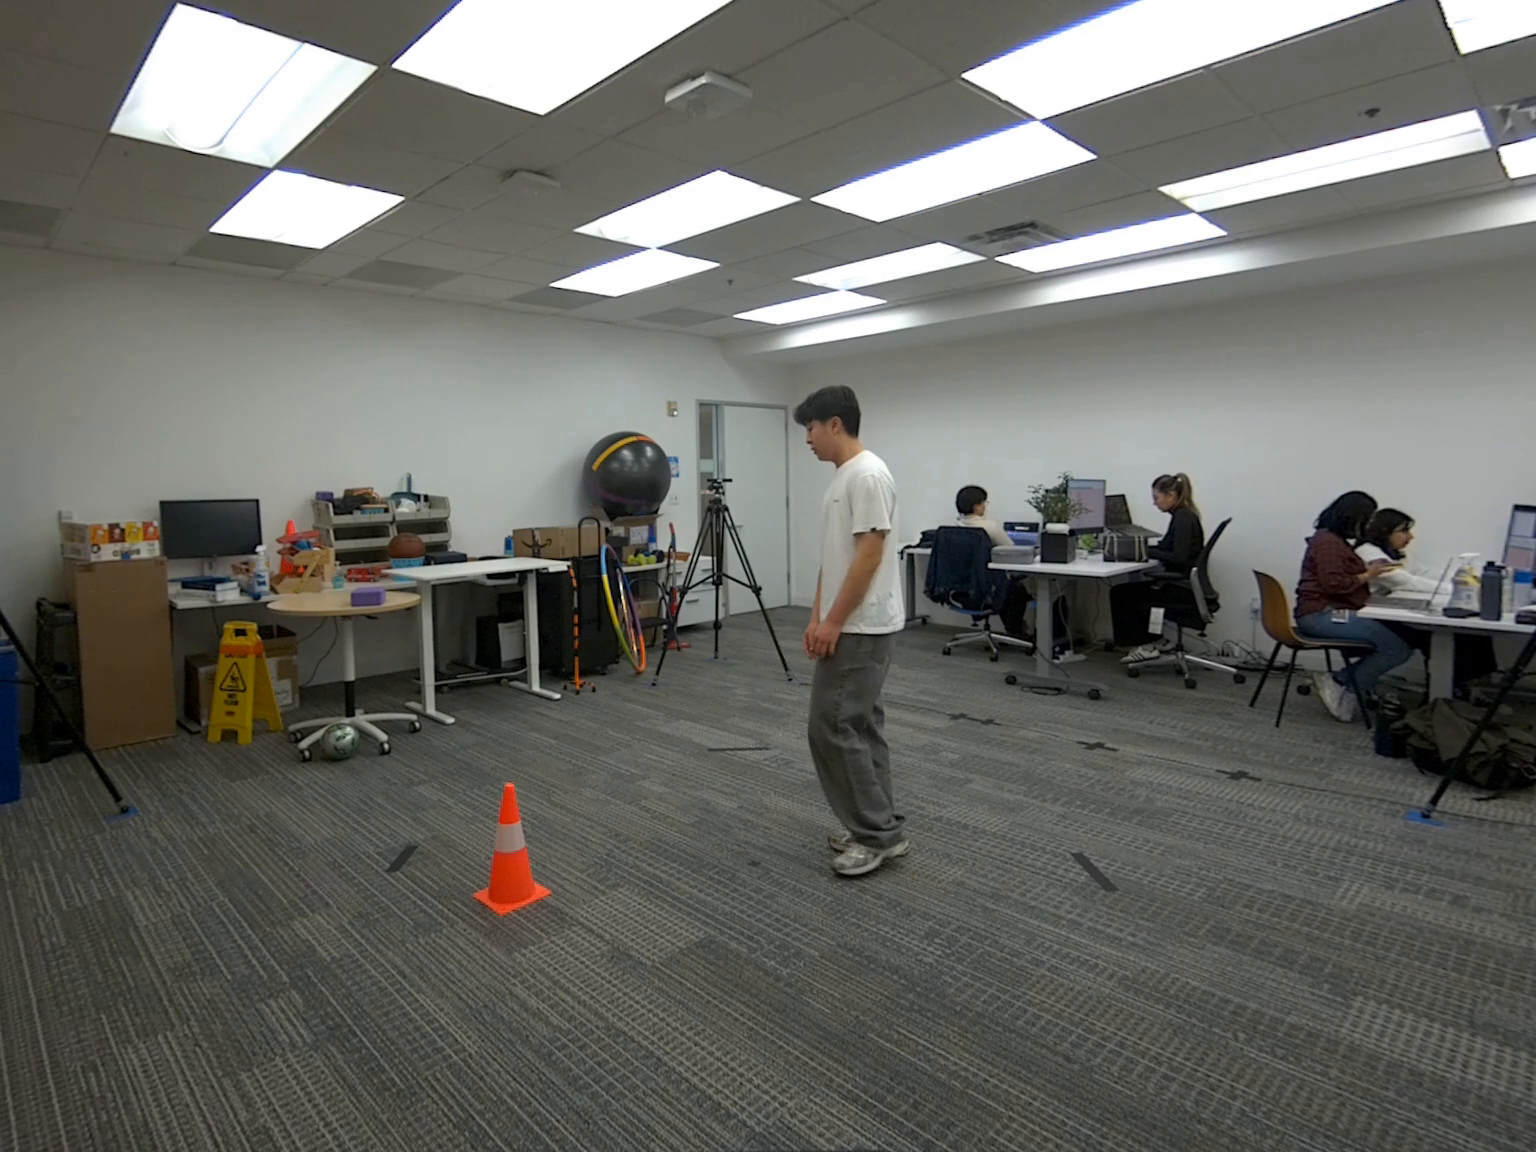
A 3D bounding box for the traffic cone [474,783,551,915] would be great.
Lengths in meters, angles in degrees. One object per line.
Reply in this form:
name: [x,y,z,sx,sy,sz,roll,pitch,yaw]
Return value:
traffic cone: [-0.878,0.901,2.904,0.199,0.383,0.209,-5,4,-41]
